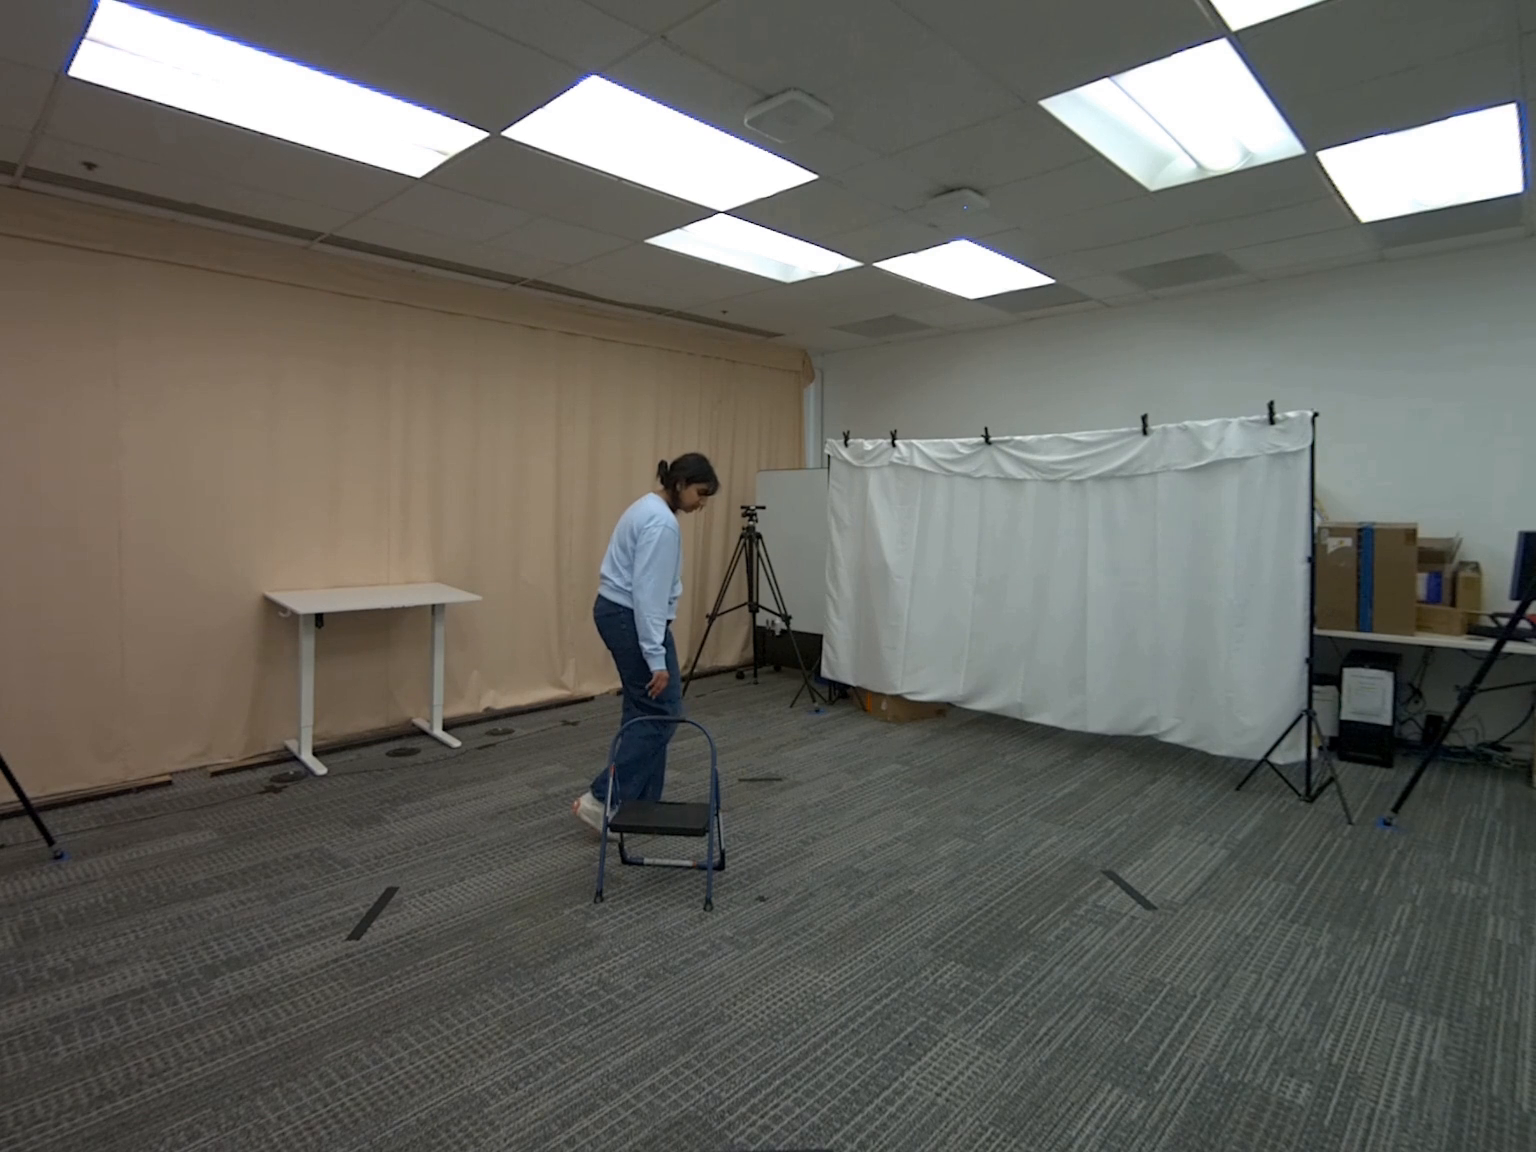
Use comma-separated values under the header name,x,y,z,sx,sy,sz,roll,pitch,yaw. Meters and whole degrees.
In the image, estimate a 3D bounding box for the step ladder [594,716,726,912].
name,x,y,z,sx,sy,sz,roll,pitch,yaw
step ladder,-0.385,0.837,3.088,0.435,0.605,0.346,0,4,9
